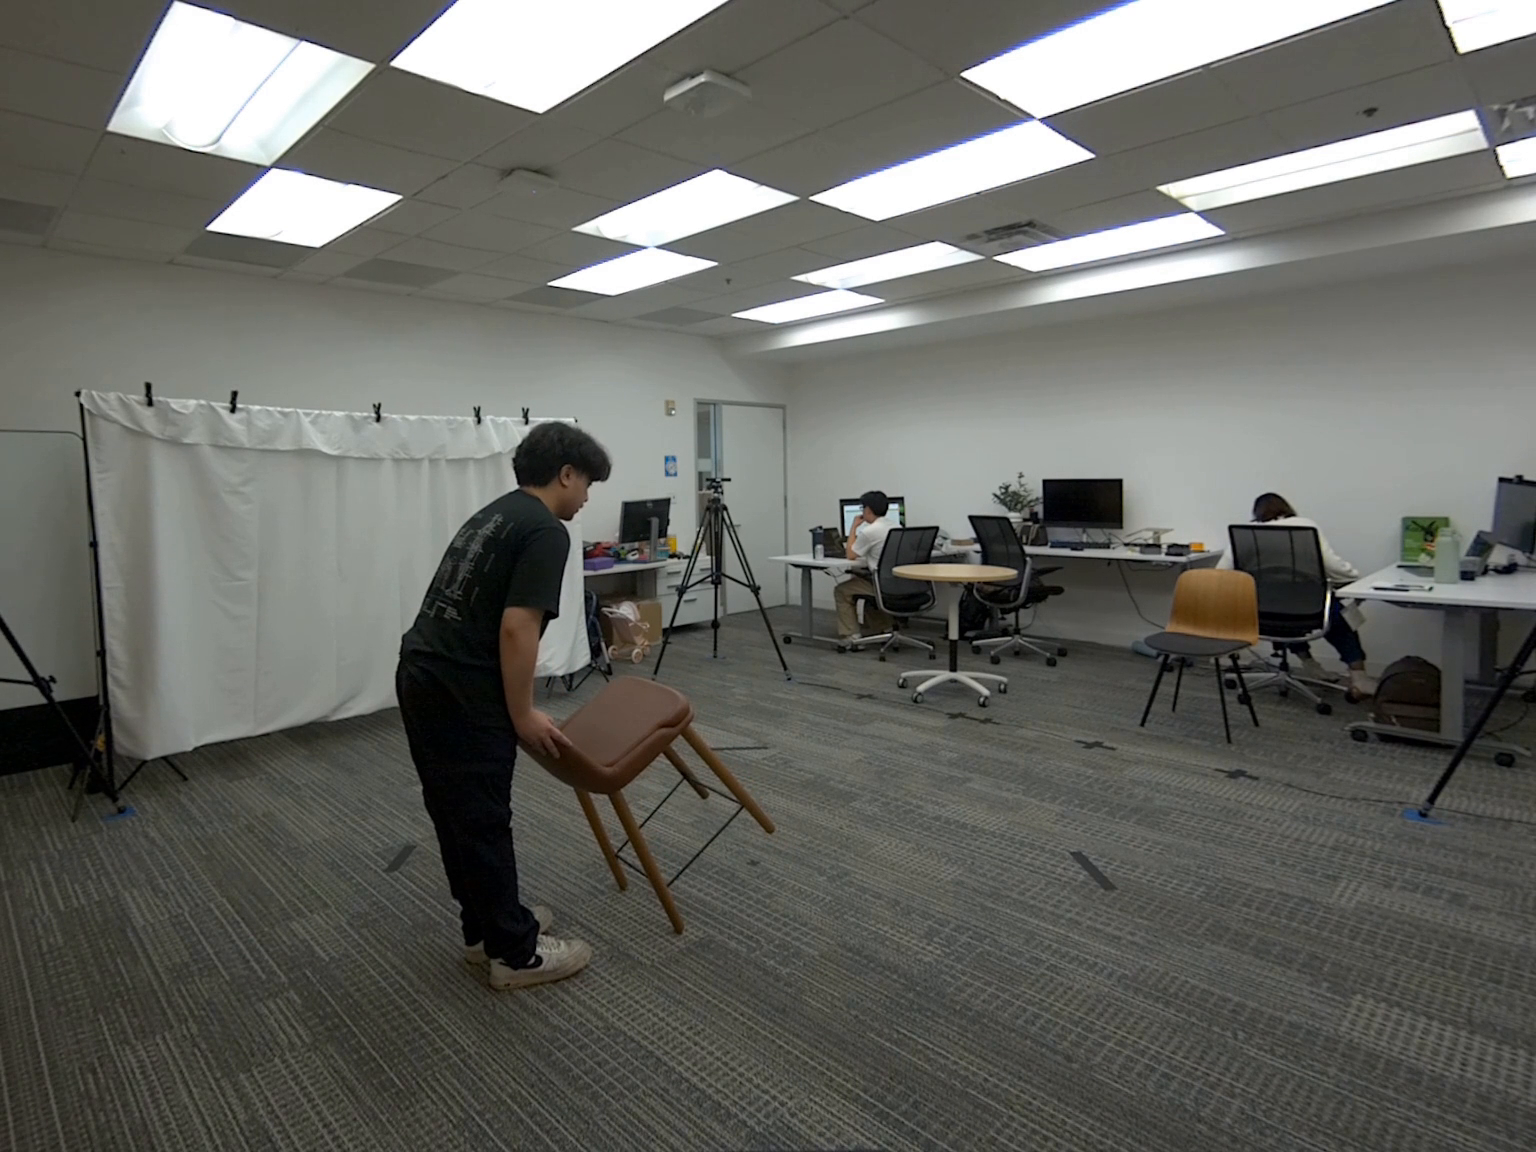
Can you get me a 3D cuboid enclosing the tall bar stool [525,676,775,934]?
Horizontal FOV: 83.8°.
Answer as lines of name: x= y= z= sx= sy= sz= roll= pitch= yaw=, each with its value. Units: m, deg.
tall bar stool: x=-0.431 y=0.611 z=2.722 sx=0.466 sy=0.866 sz=0.470 roll=-42 pitch=27 yaw=-27
